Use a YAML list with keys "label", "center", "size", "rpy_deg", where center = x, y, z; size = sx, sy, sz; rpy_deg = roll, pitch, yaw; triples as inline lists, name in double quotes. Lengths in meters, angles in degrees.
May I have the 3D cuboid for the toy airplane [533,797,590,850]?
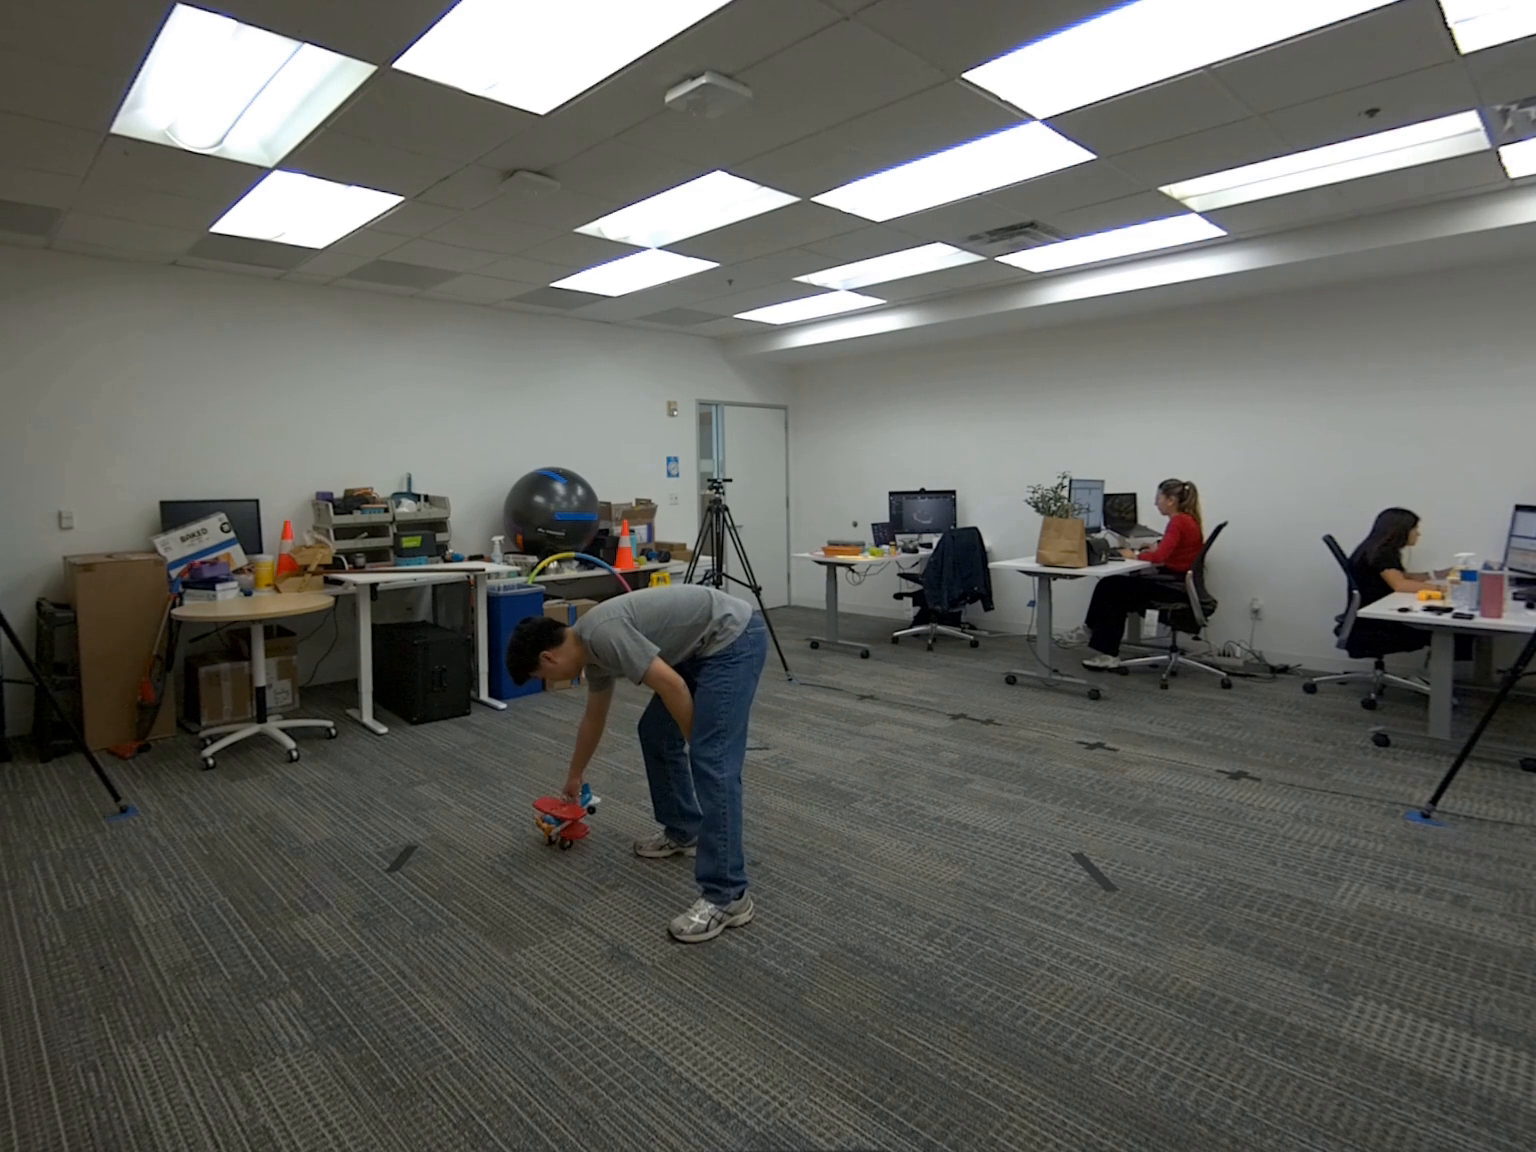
- label: "toy airplane"
  center: [-0.785, 0.932, 3.313]
  size: [0.253, 0.152, 0.264]
  rpy_deg: [-11, 28, 9]
